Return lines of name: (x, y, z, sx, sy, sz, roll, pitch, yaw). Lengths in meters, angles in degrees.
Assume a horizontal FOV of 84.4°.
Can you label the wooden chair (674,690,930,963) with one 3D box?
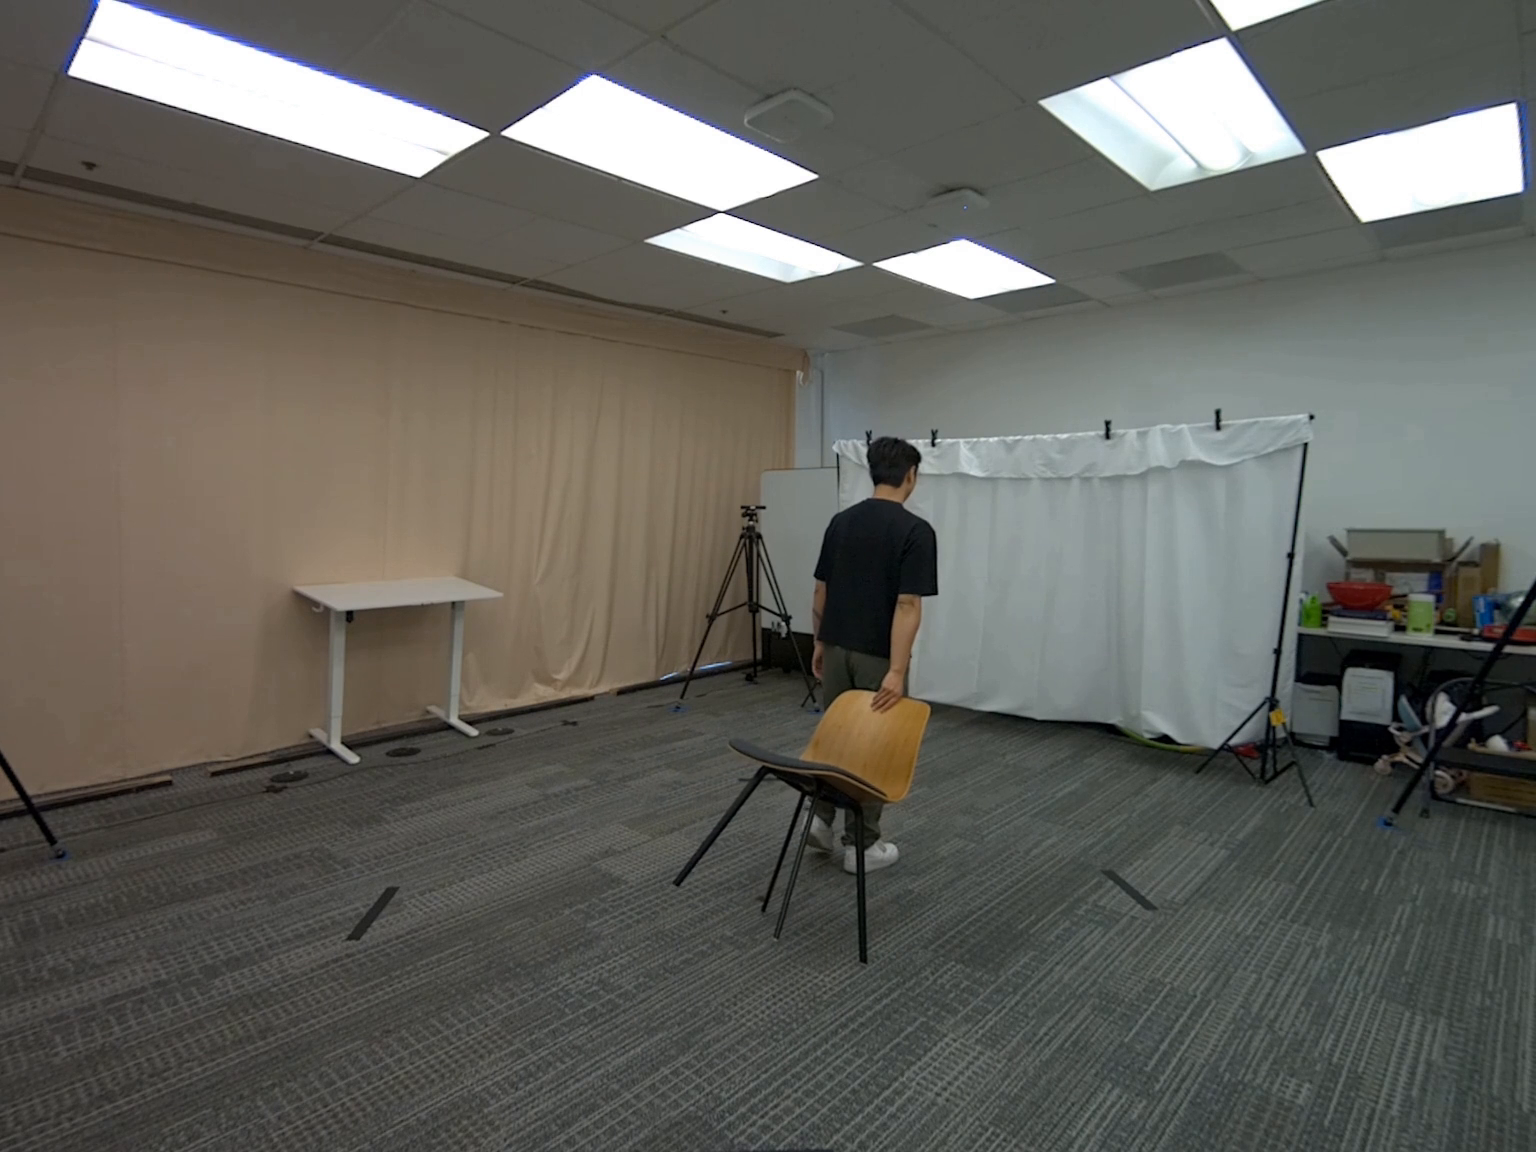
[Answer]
wooden chair: (0.145, 0.678, 2.690, 0.494, 0.879, 0.505, 4, -27, 47)
